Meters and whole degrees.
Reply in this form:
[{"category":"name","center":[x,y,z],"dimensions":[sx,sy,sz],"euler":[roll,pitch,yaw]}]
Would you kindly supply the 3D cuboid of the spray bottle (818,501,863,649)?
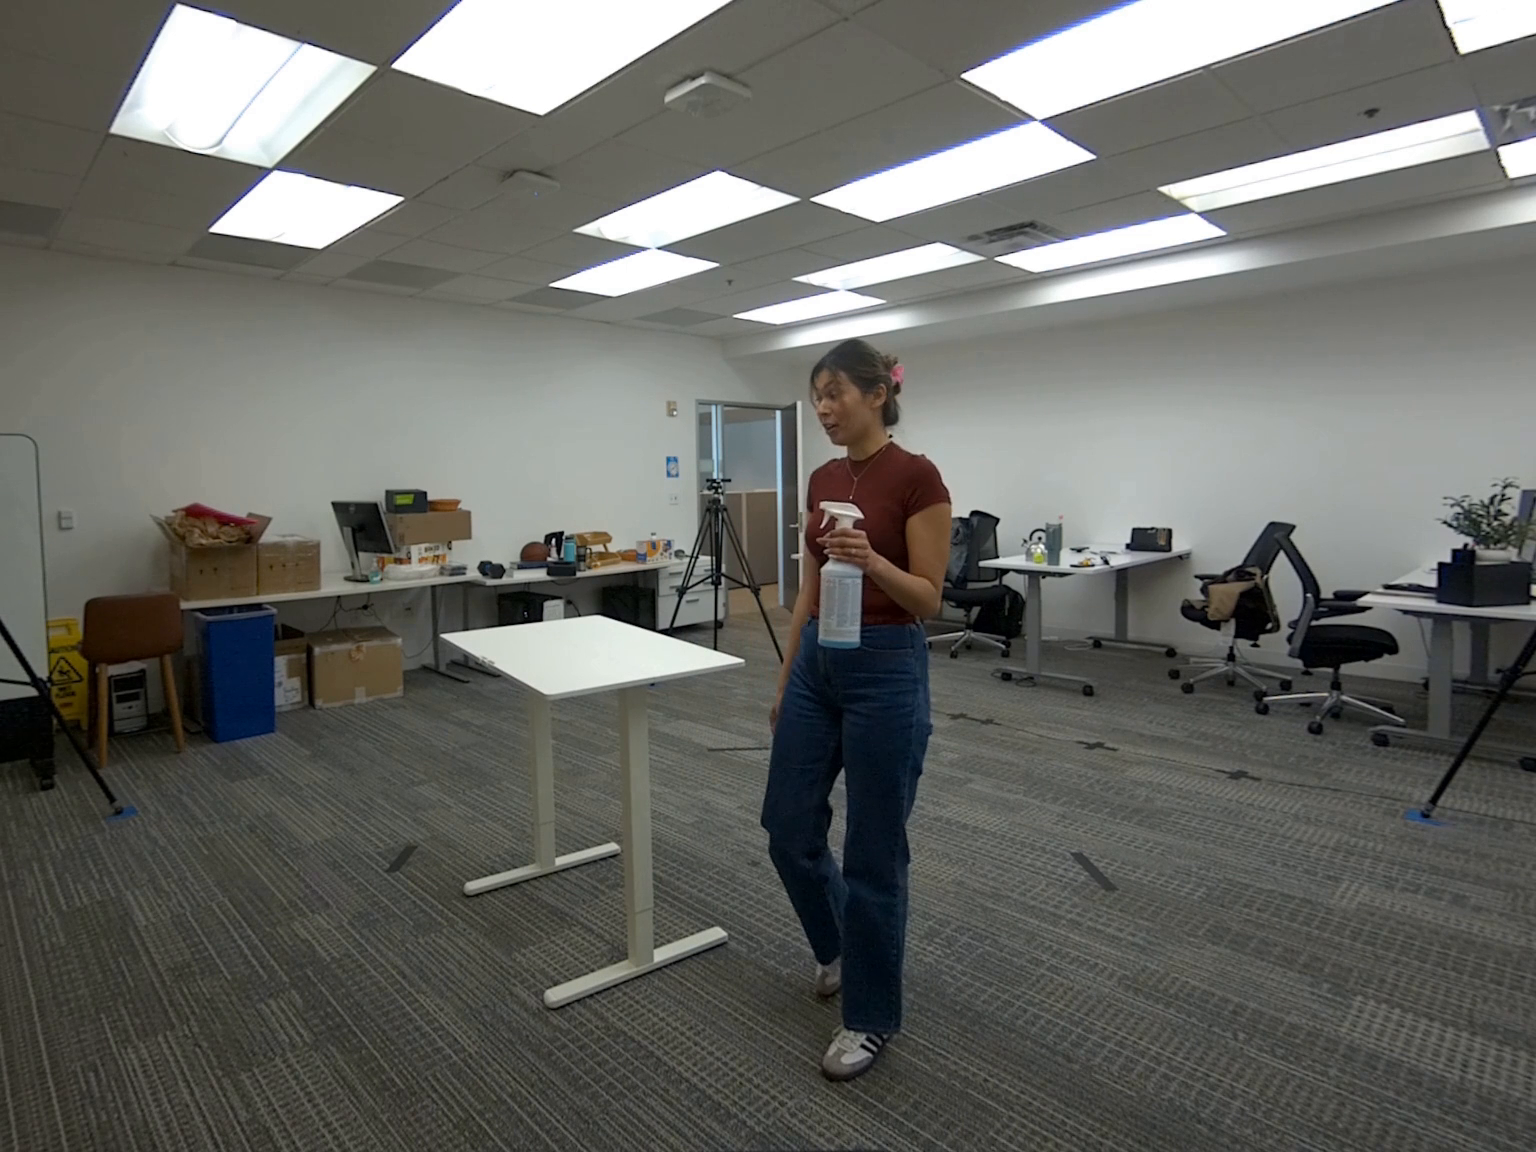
[{"category":"spray bottle","center":[0.158,-0.002,1.761],"dimensions":[0.091,0.297,0.085],"euler":[-1,-1,18]}]
